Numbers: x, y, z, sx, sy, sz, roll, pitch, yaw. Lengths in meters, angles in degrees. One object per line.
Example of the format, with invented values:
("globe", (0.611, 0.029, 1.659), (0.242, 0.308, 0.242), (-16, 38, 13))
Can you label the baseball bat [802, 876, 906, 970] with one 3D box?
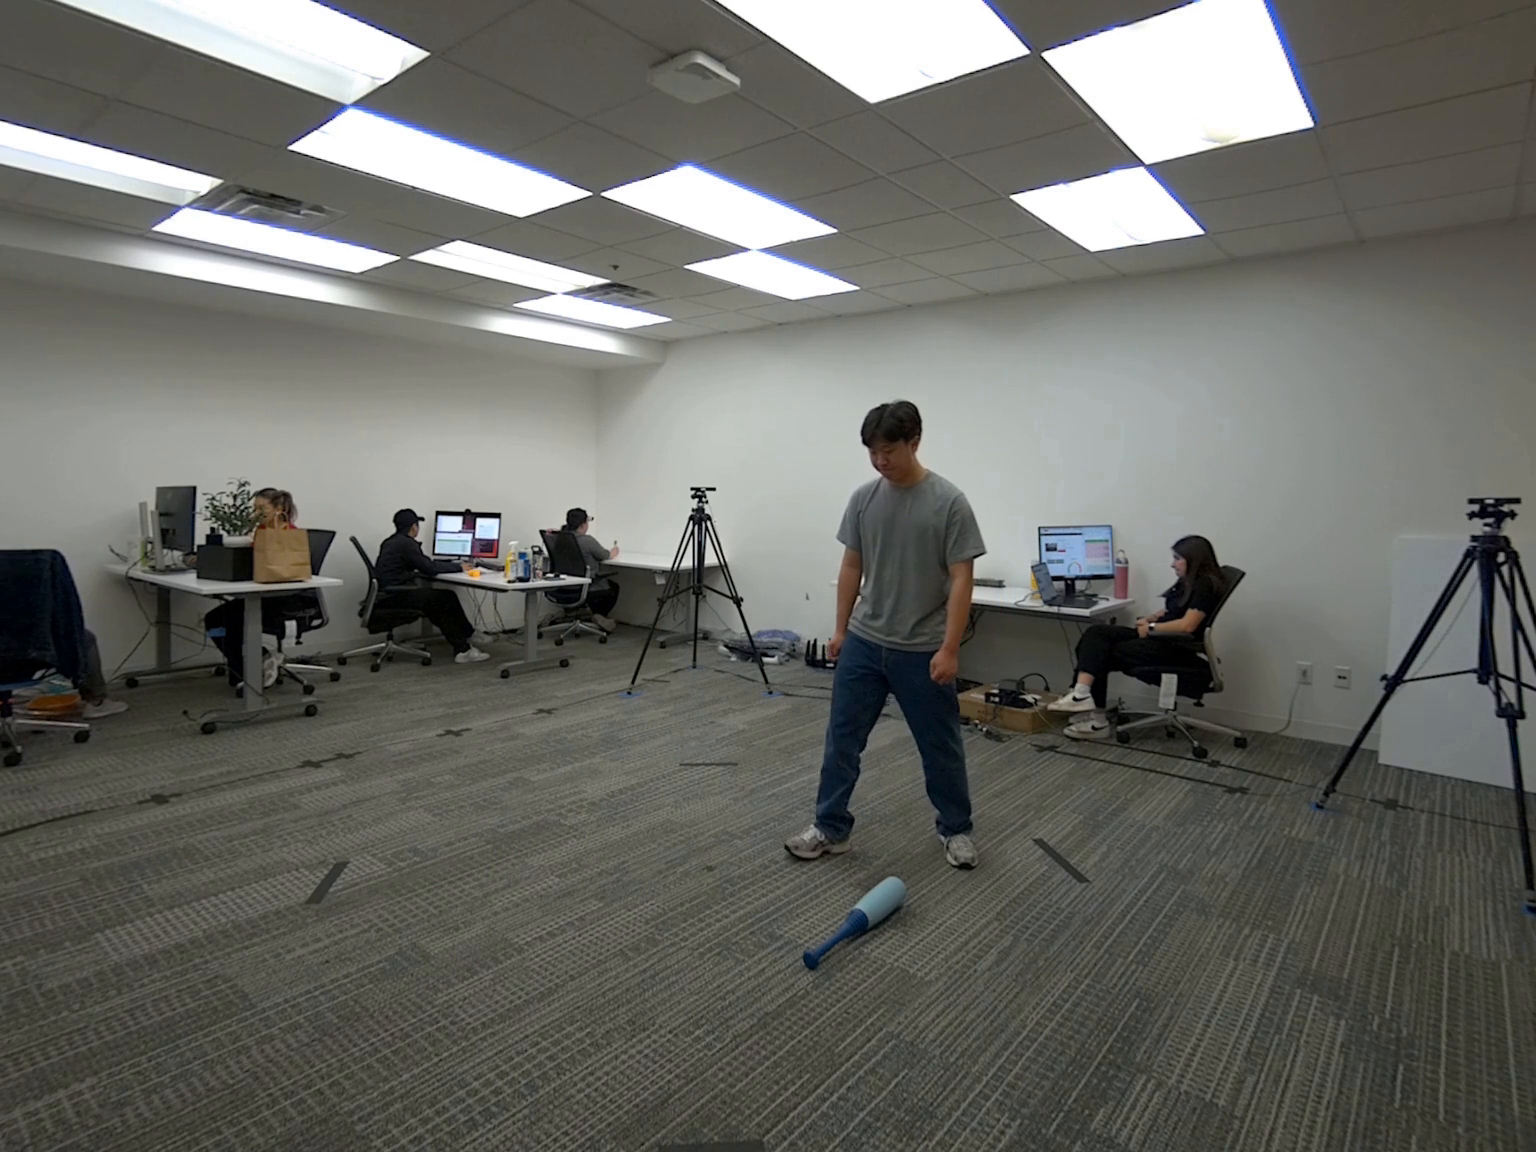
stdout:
("baseball bat", (0.273, 1.089, 2.666), (0.092, 0.088, 0.529), (4, 10, 38))
